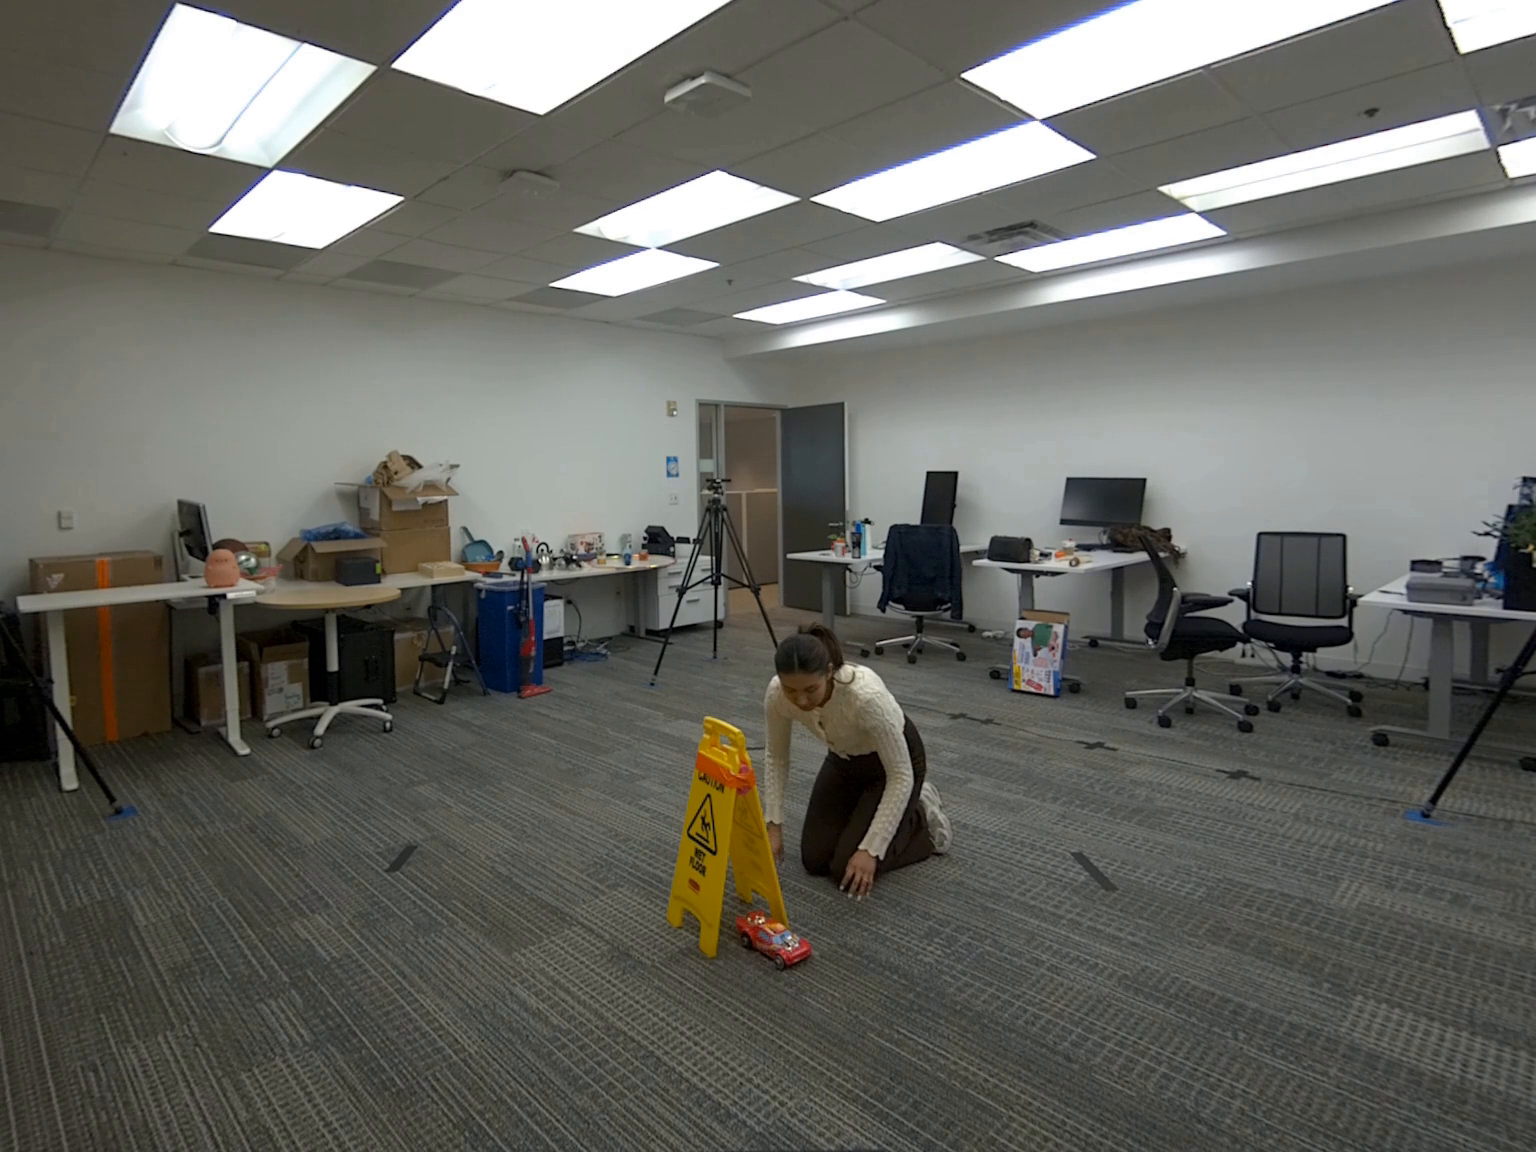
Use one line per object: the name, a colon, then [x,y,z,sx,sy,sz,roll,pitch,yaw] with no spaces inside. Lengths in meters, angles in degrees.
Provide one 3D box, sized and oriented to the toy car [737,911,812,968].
toy car: [-0.008,1.079,2.543,0.127,0.082,0.264,-5,17,-39]
